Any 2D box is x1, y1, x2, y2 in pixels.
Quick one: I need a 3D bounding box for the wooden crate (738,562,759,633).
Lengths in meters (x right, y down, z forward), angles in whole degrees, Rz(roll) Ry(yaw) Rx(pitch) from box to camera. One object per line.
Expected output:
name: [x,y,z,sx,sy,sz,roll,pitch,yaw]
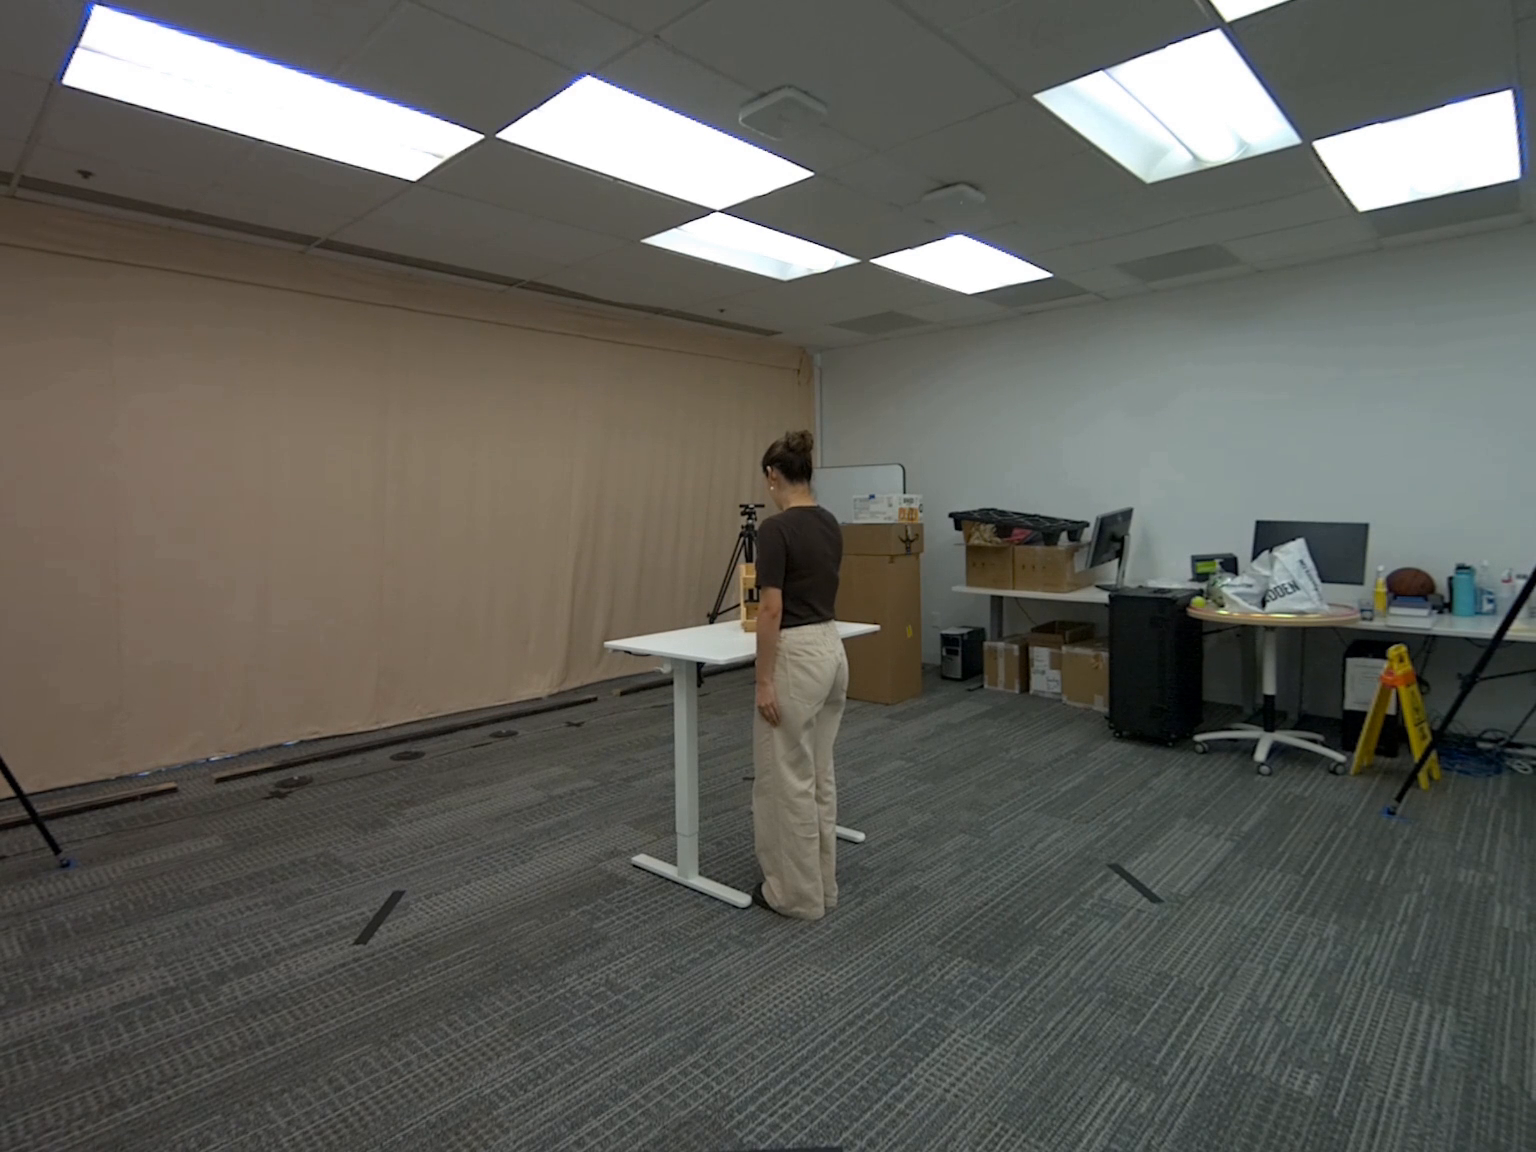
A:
wooden crate: [0.055,0.081,3.501,0.325,0.273,0.302,0,2,1]
